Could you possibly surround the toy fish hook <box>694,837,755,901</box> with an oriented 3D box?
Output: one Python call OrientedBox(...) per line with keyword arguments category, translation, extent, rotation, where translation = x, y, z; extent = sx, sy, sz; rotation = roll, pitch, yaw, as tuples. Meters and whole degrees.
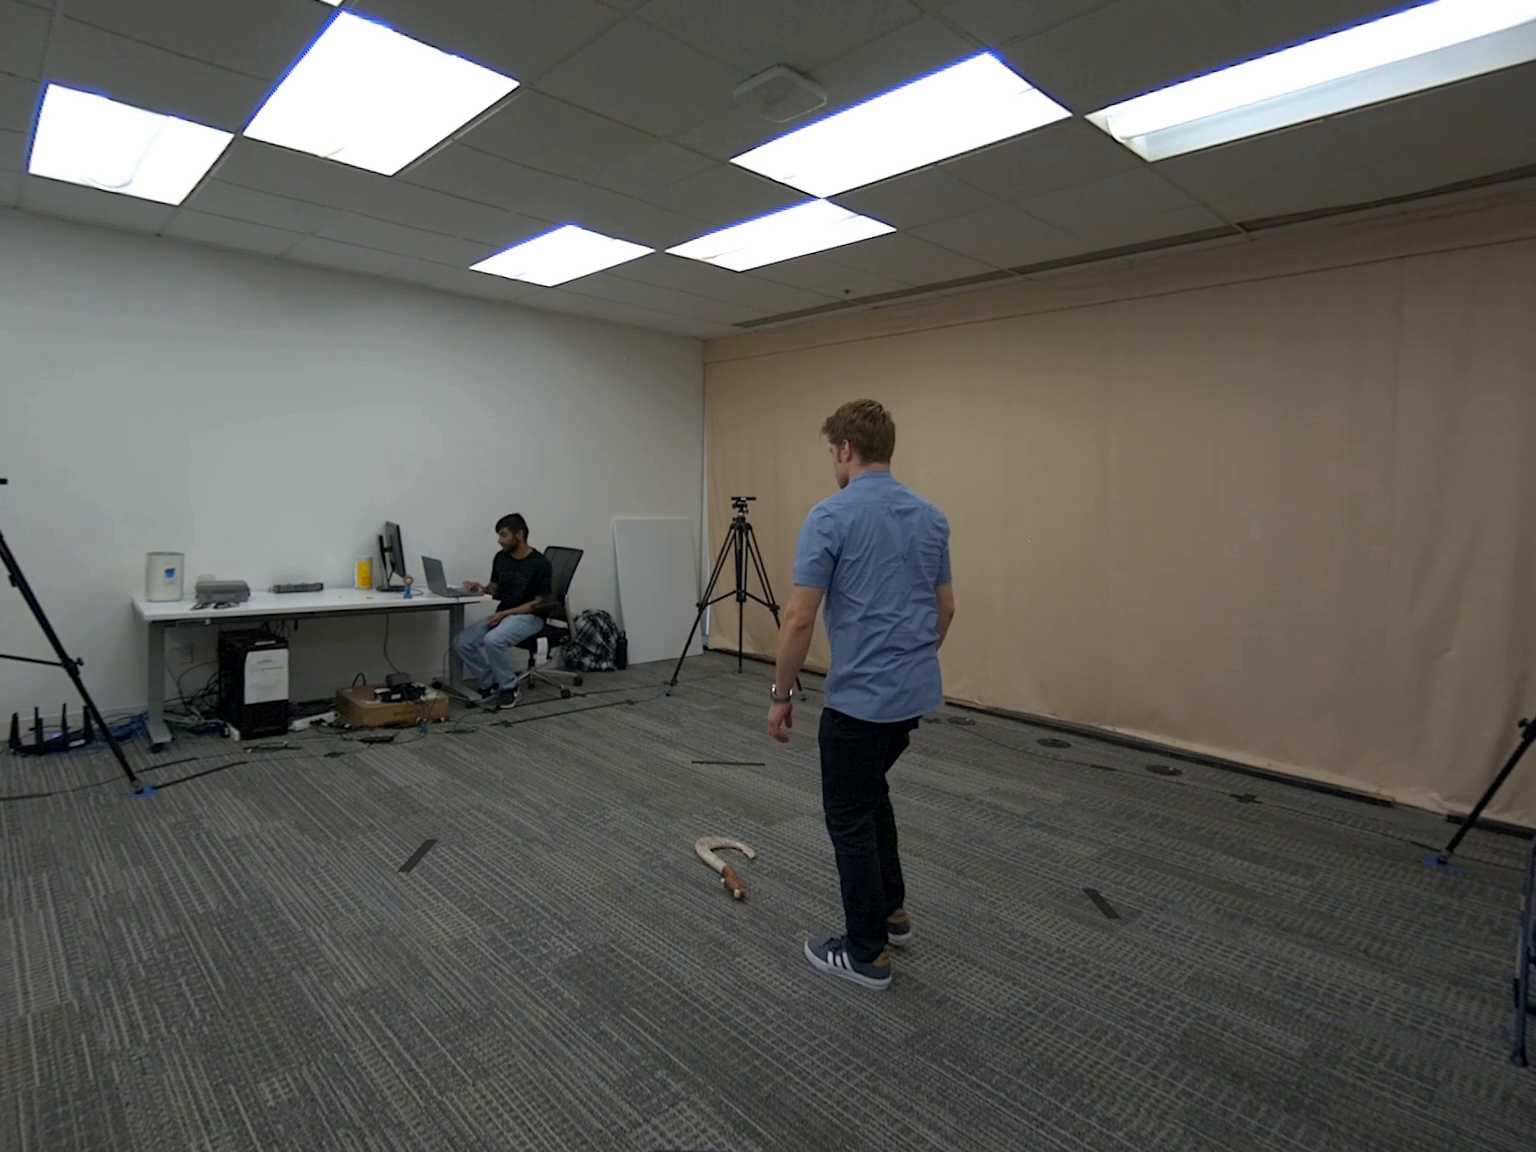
OrientedBox(category="toy fish hook", translation=(-0.133, 1.080, 3.147), extent=(0.222, 0.048, 0.515), rotation=(-1, 6, -18))
